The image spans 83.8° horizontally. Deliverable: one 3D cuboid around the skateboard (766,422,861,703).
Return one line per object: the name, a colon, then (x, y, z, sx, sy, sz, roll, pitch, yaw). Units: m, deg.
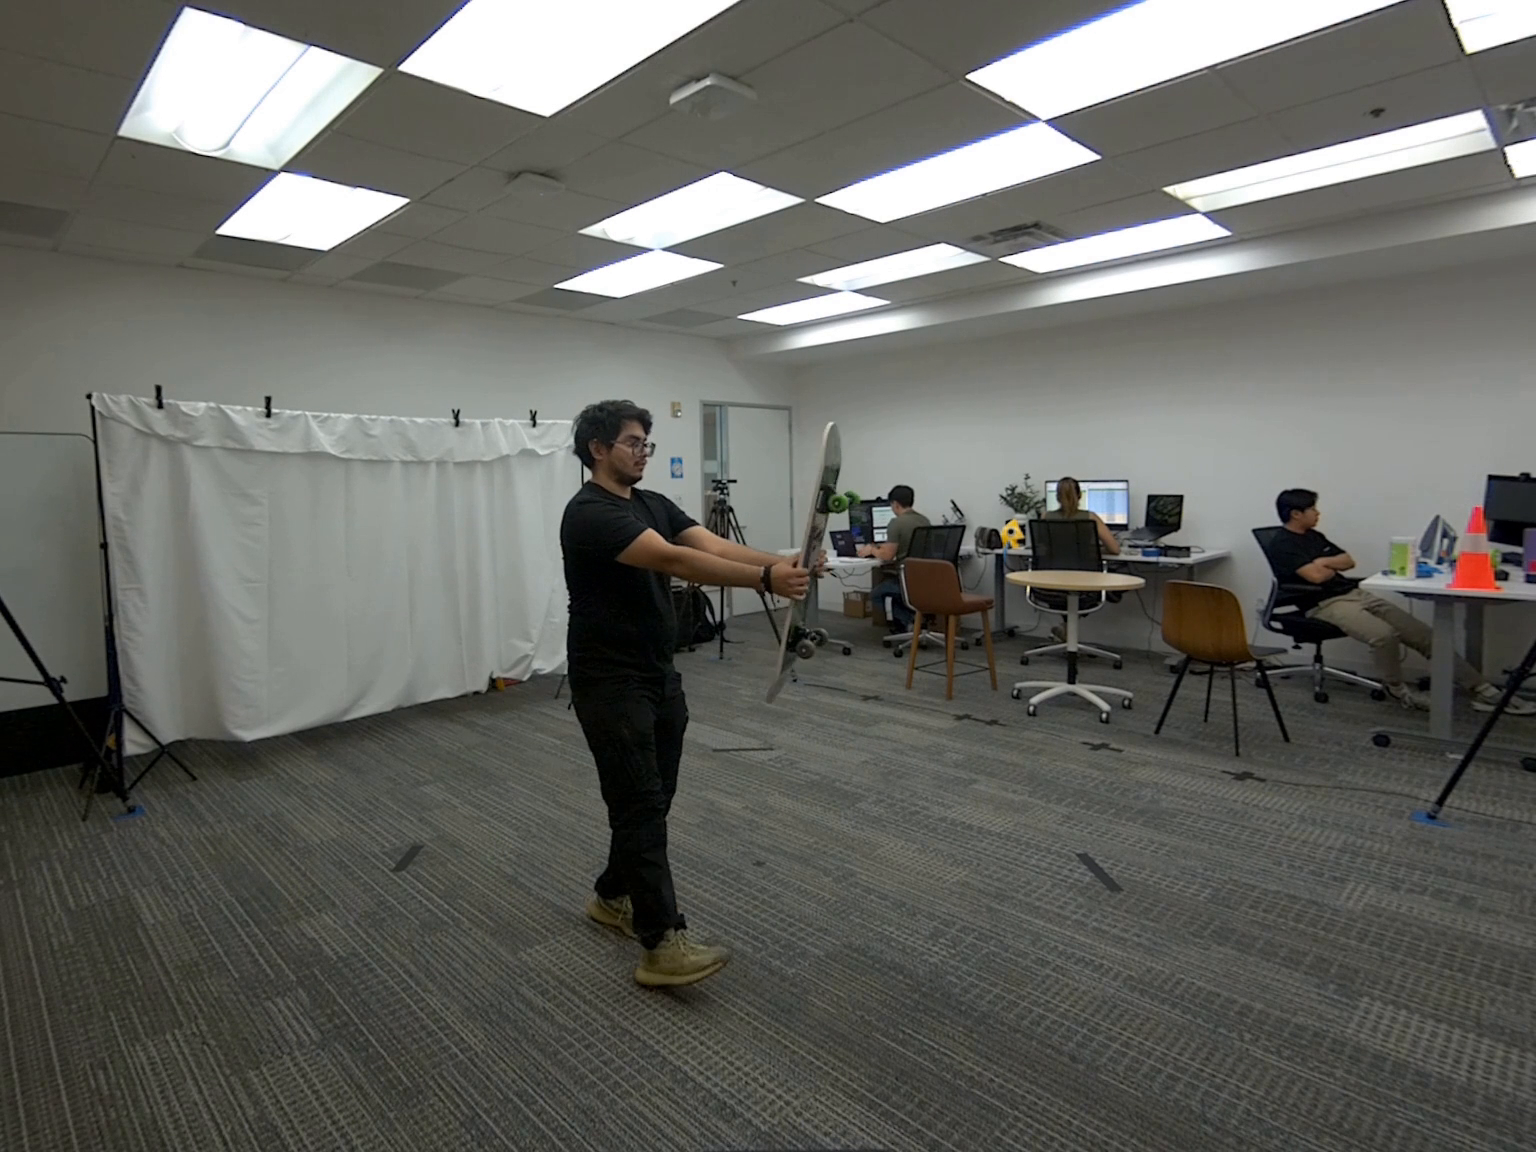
skateboard: (0.137, -0.013, 2.305, 0.113, 0.780, 0.190, 15, 9, 17)
